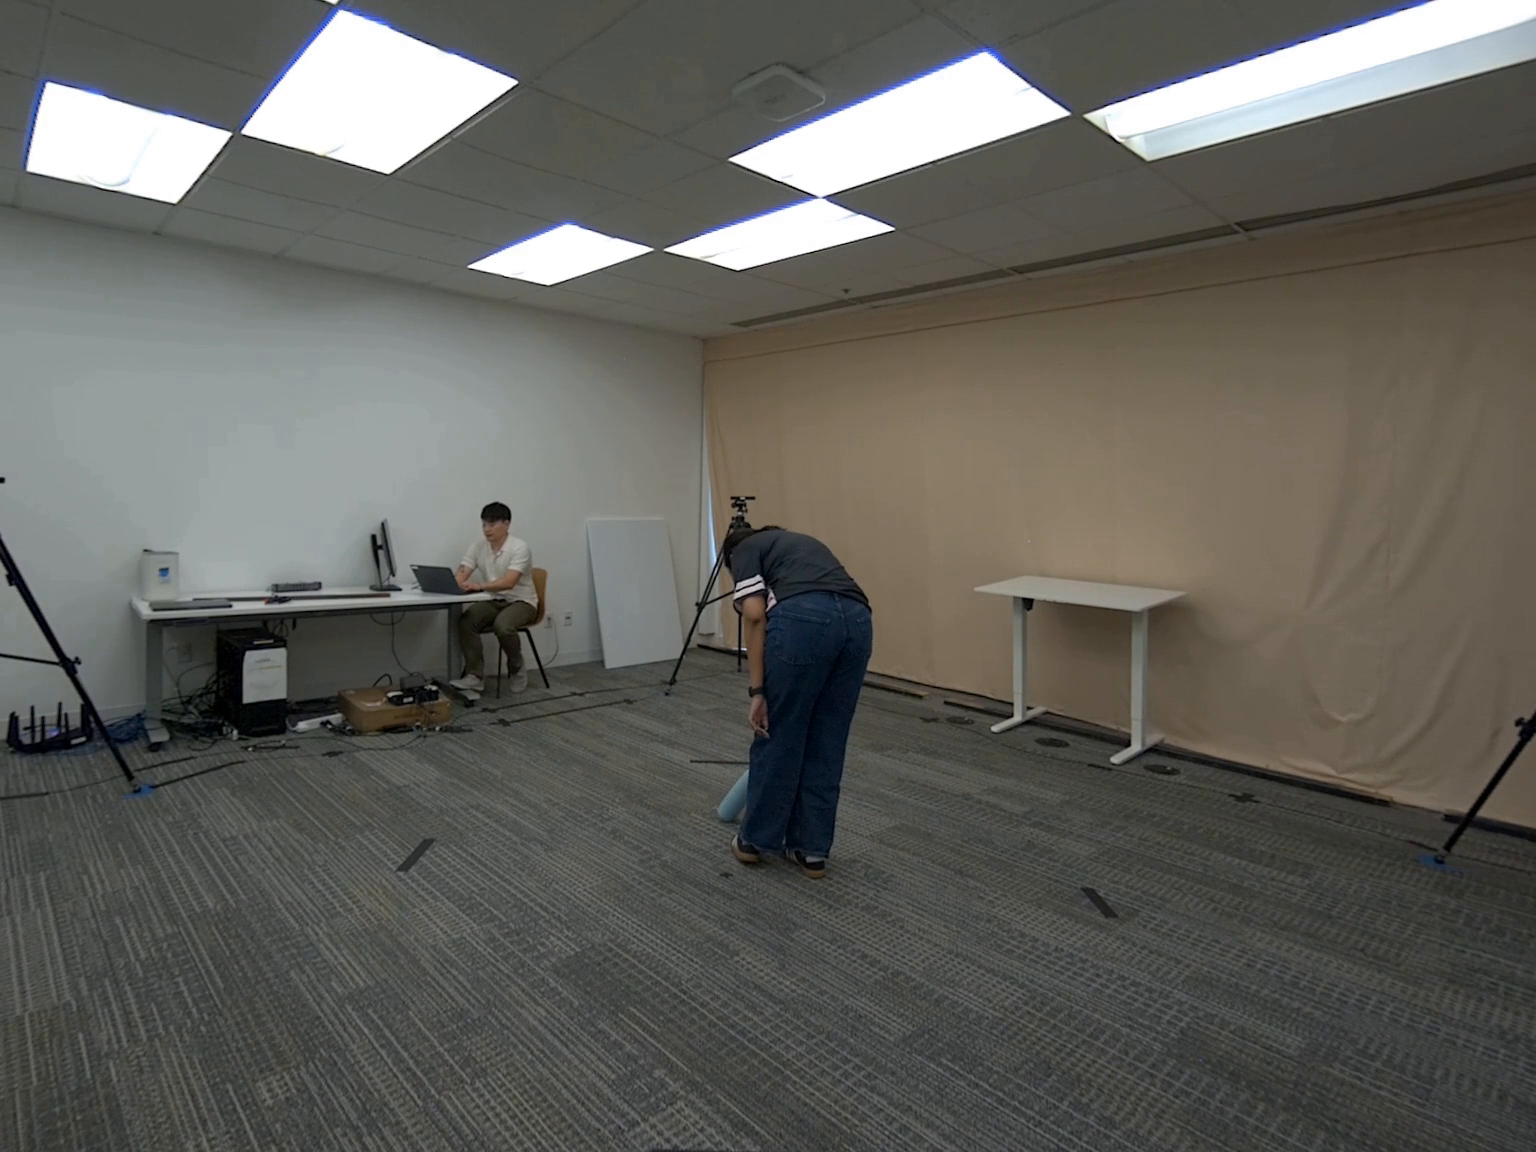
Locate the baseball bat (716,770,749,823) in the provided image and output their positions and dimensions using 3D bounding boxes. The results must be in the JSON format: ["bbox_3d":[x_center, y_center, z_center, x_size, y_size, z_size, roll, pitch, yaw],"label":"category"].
[{"bbox_3d":[-0.052,0.826,3.568,0.088,0.541,0.090,31,15,-11],"label":"baseball bat"}]
